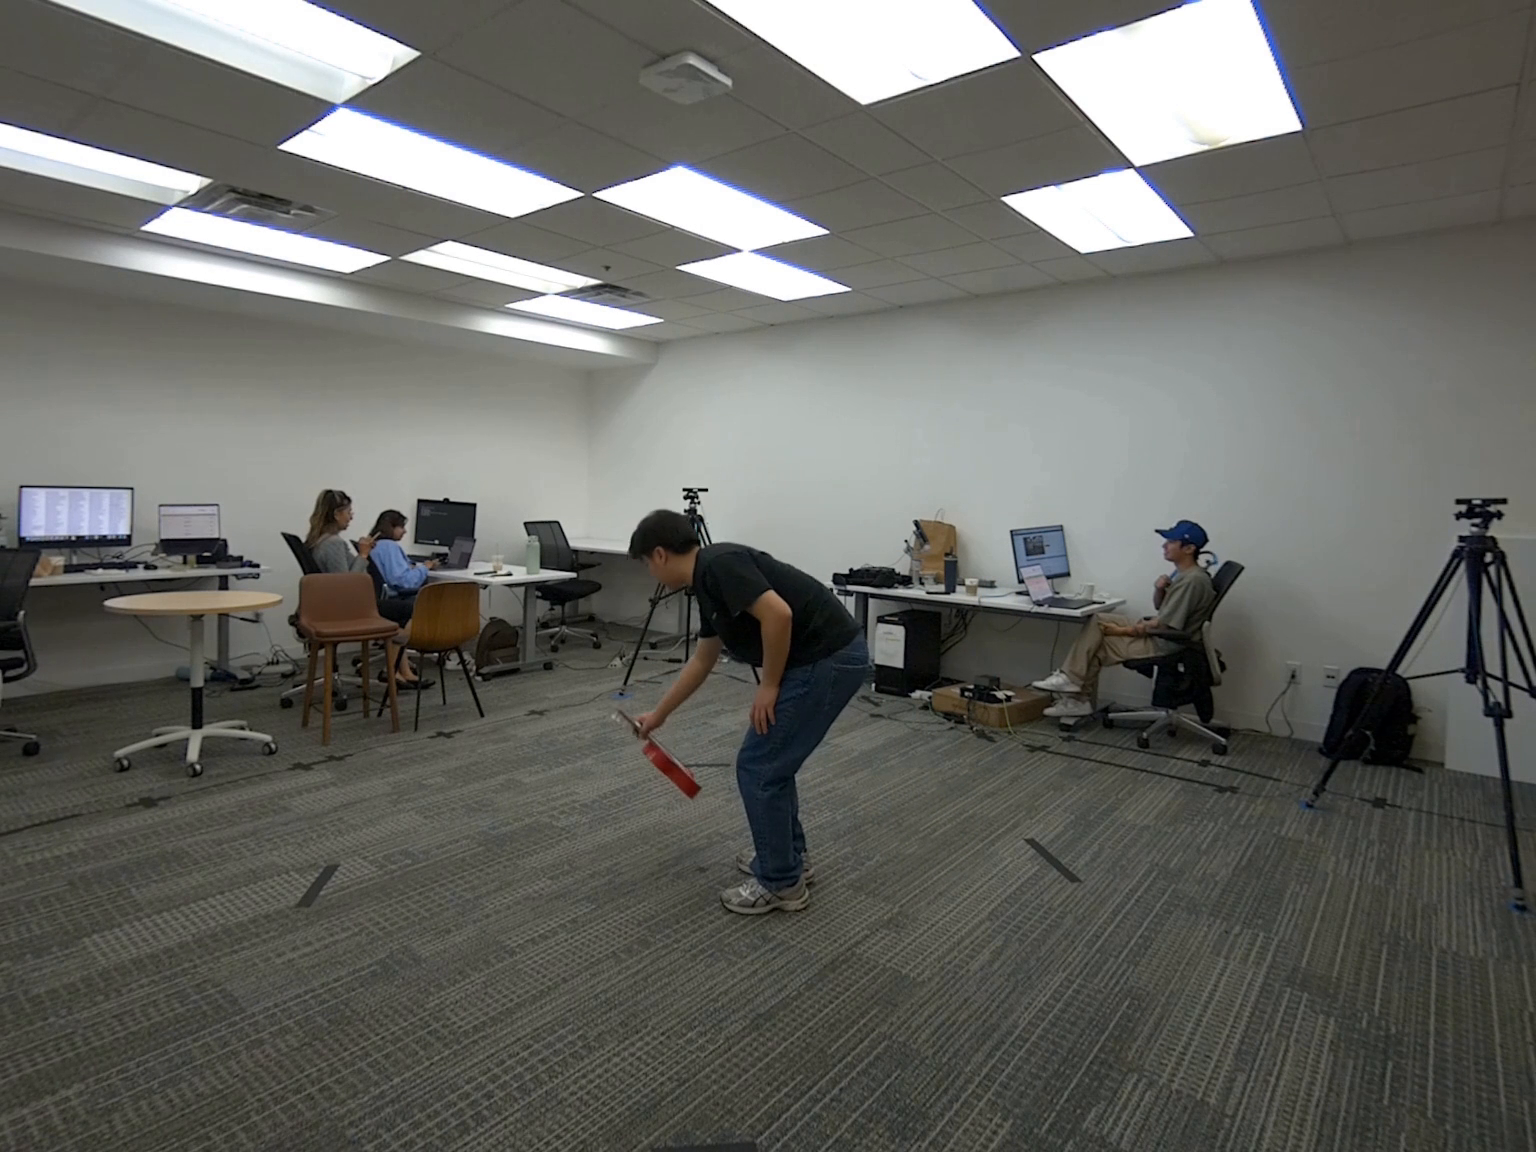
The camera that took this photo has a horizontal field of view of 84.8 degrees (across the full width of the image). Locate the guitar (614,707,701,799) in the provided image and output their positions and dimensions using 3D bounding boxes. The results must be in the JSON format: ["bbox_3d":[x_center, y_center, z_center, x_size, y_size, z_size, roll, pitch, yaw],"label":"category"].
[{"bbox_3d":[-0.454,0.639,3.242,0.070,0.487,0.197,-45,17,-8],"label":"guitar"}]
